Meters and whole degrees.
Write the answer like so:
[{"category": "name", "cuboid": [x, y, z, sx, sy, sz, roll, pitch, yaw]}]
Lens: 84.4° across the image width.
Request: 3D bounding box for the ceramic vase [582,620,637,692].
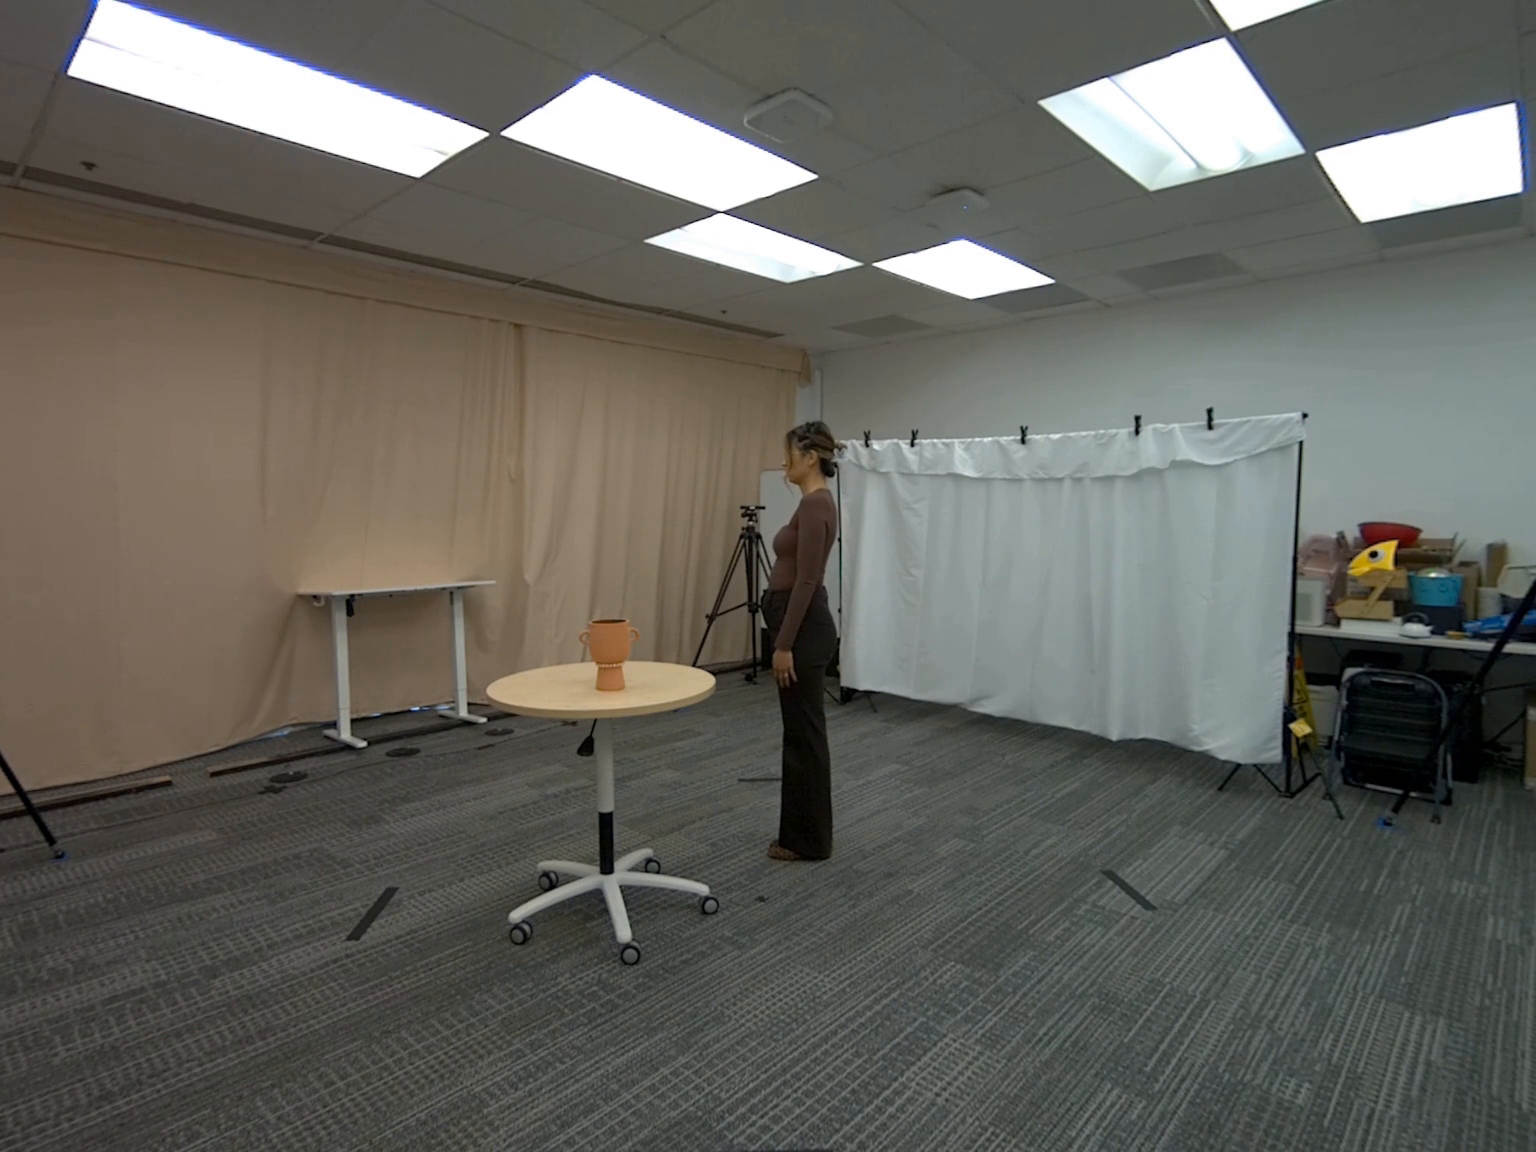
[{"category": "ceramic vase", "cuboid": [-0.521, 0.261, 2.758, 0.162, 0.219, 0.132, -1, 3, 21]}]
